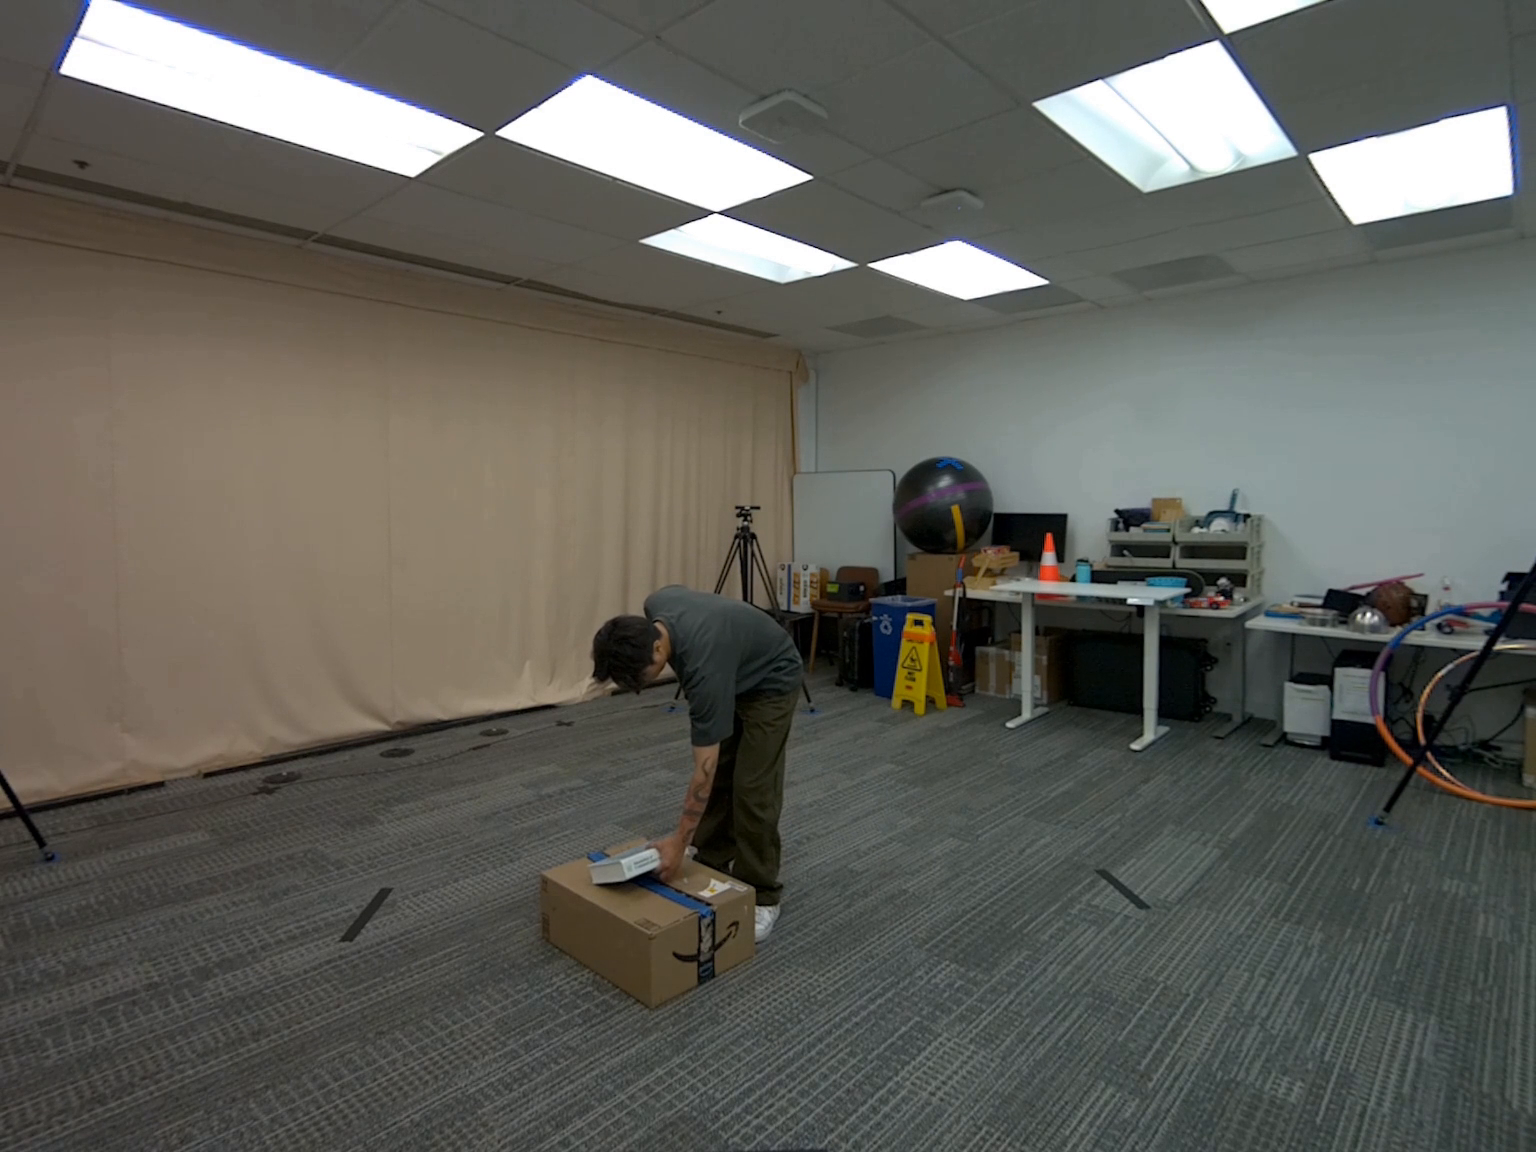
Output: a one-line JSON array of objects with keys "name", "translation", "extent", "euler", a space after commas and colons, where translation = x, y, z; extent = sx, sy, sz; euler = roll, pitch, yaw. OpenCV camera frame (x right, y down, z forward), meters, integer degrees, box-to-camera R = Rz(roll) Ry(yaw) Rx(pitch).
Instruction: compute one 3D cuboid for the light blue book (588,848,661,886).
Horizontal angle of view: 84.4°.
[{"name": "light blue book", "translation": [-0.415, 0.904, 2.679], "extent": [0.195, 0.059, 0.253], "euler": [-22, -11, 40]}]
